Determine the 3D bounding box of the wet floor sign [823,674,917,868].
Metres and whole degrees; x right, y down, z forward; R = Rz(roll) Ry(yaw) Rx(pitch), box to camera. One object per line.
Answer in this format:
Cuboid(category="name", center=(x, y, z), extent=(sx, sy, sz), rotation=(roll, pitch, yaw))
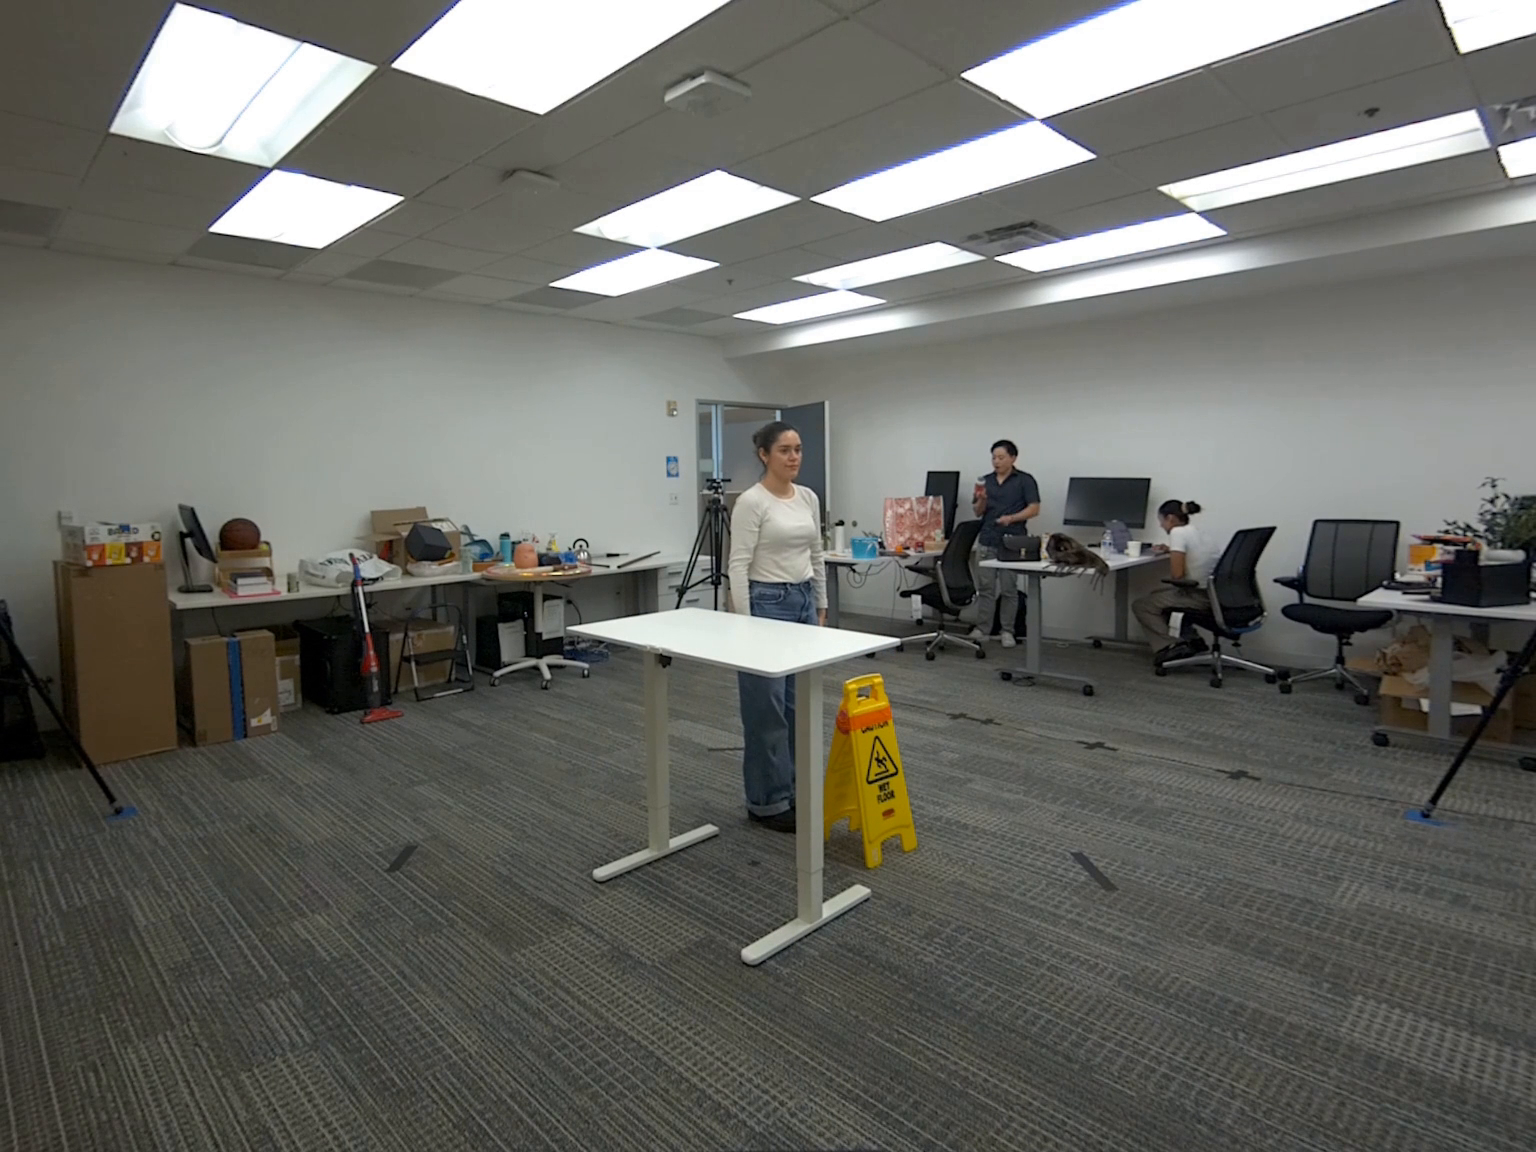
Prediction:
Cuboid(category="wet floor sign", center=(0.359, 0.699, 3.219), extent=(0.275, 0.644, 0.298), rotation=(-5, 5, -43))
